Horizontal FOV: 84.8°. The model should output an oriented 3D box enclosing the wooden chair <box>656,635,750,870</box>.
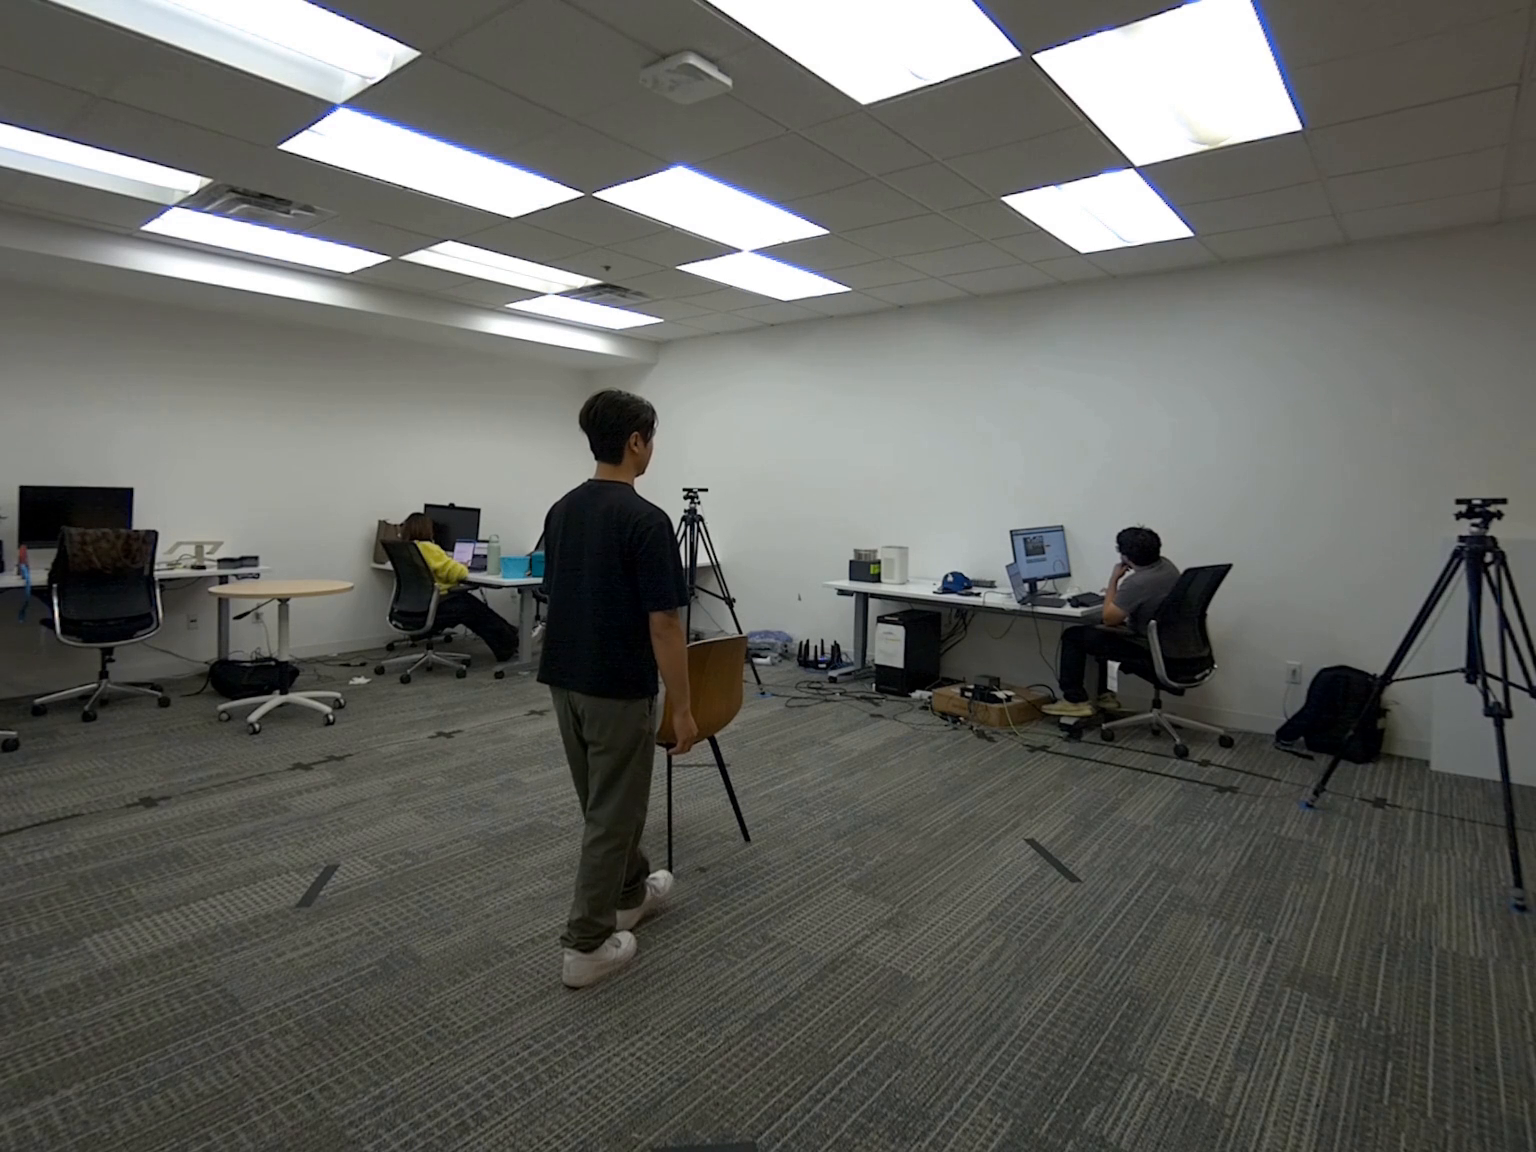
[{"bbox_3d":[-0.392,0.621,3.335,0.542,0.873,0.464,9,7,40],"label":"wooden chair"}]
